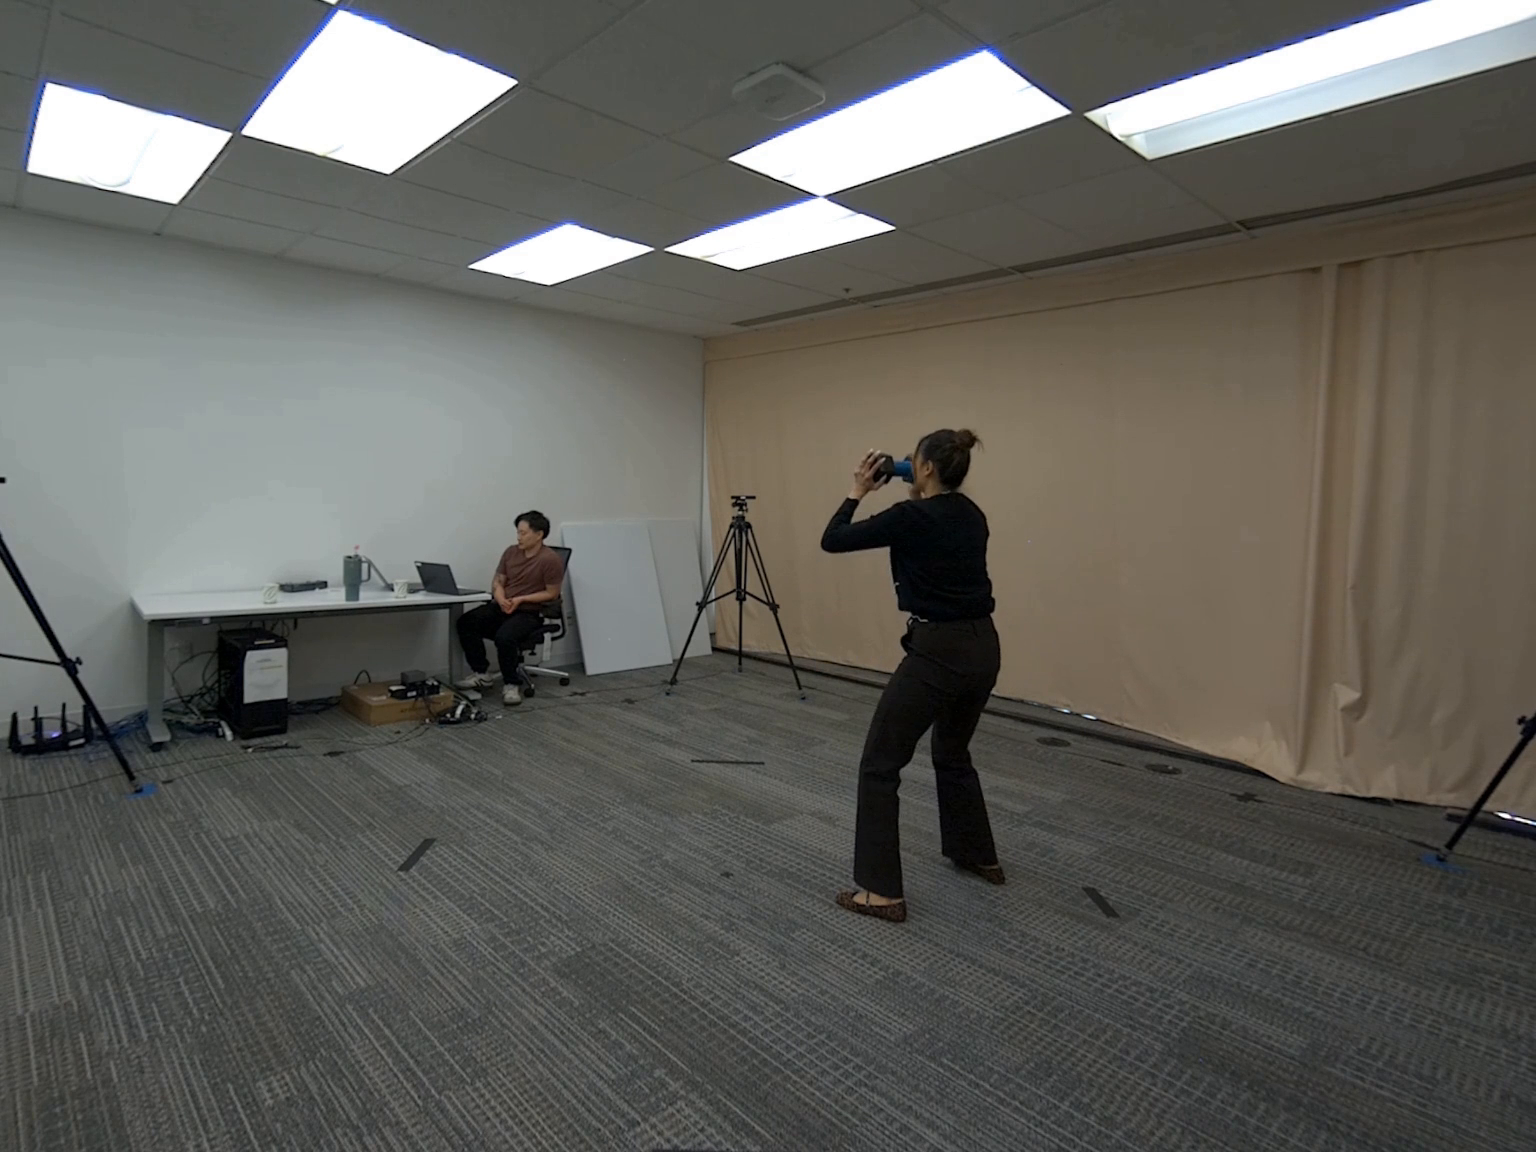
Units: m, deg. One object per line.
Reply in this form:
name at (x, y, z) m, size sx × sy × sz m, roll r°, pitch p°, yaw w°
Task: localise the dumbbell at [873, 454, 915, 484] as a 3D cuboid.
dumbbell at (0.483, -0.395, 3.133) m, size 0.287 × 0.111 × 0.122 m, roll -5°, pitch -36°, yaw -38°
